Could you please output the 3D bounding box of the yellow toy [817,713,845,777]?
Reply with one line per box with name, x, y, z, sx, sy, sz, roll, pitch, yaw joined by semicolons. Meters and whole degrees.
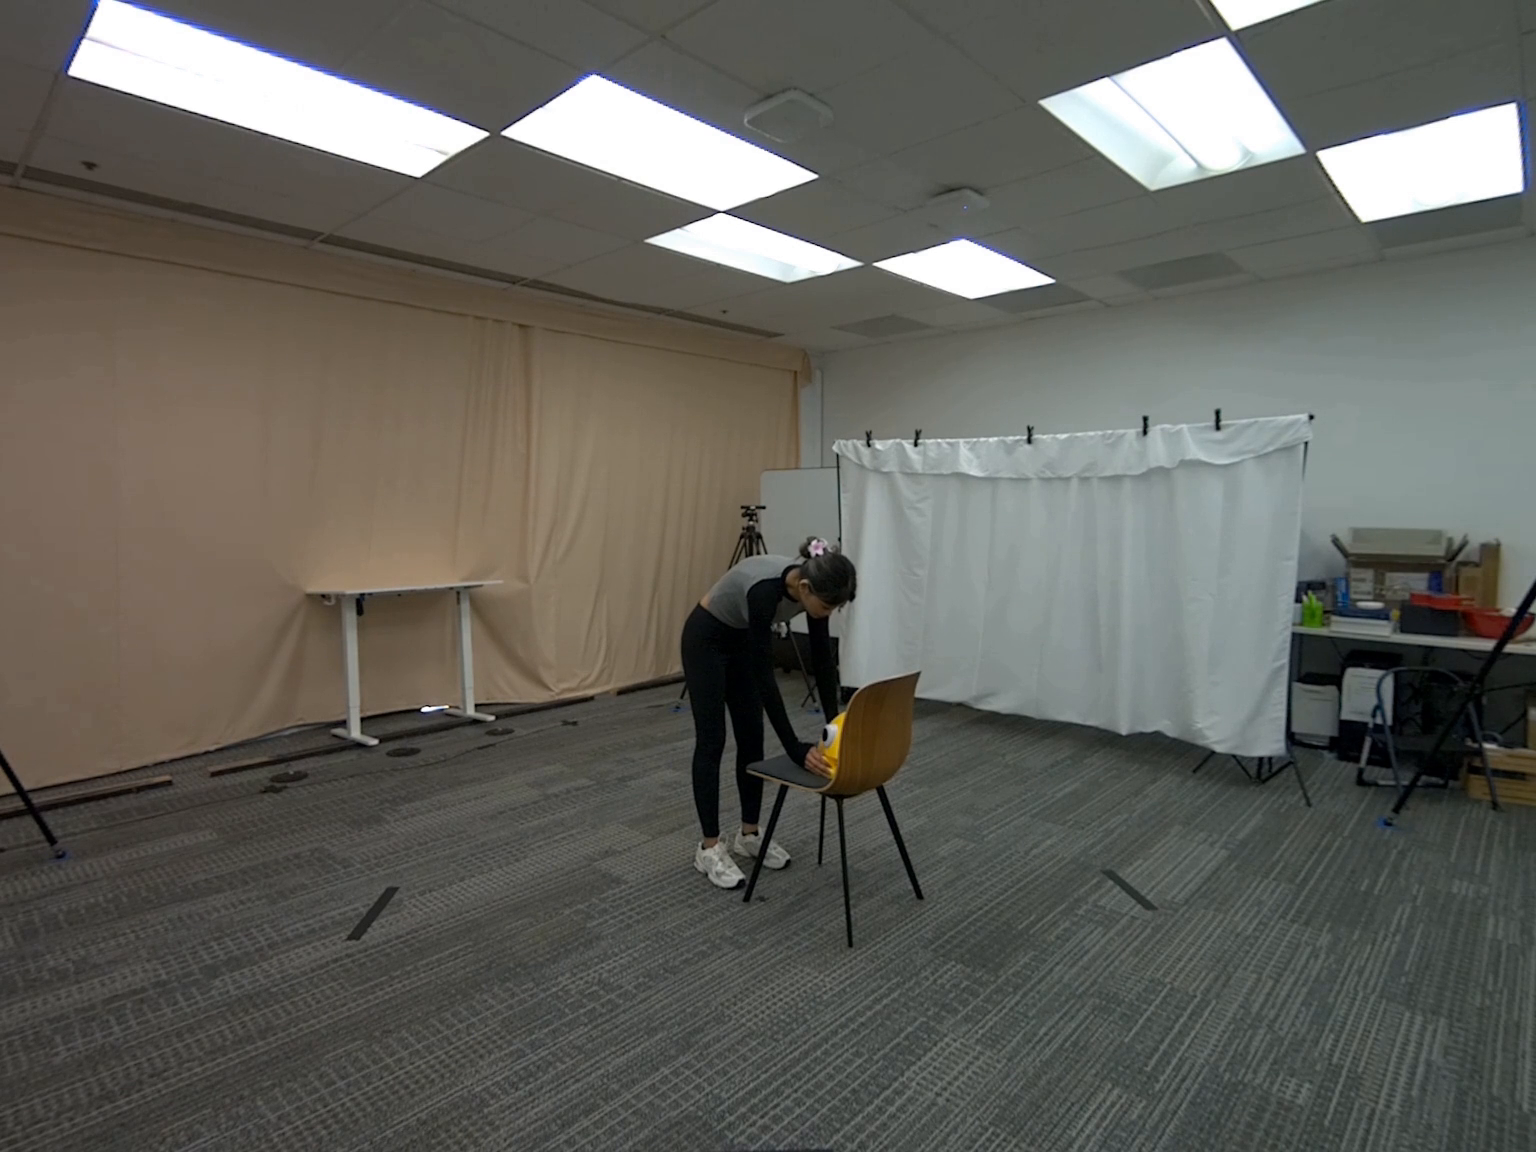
yellow toy;0.257;0.566;2.913;0.200;0.230;0.198;9;8;44
